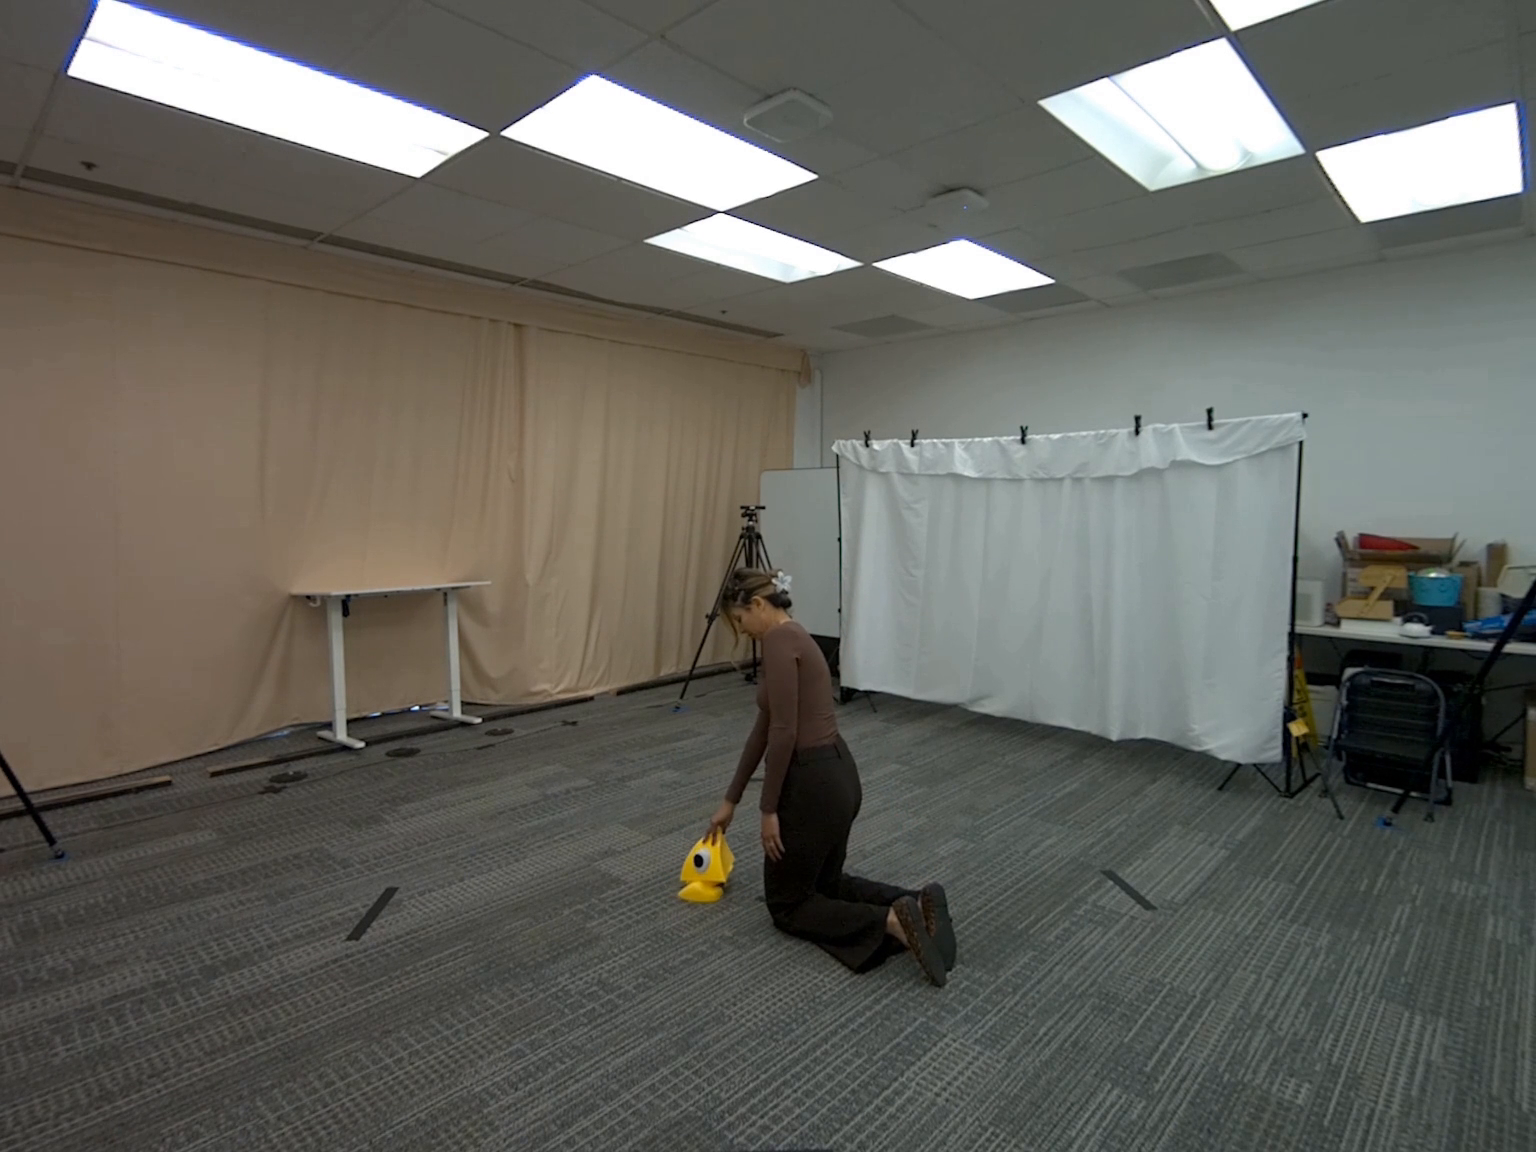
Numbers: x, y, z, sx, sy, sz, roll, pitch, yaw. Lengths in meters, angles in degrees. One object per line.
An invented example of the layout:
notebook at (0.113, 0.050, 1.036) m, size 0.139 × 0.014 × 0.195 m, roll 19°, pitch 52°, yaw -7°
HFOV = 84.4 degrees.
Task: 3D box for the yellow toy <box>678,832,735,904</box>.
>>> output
yellow toy at (-0.223, 1.023, 3.058) m, size 0.195 × 0.230 × 0.203 m, roll 2°, pitch 4°, yaw 10°
